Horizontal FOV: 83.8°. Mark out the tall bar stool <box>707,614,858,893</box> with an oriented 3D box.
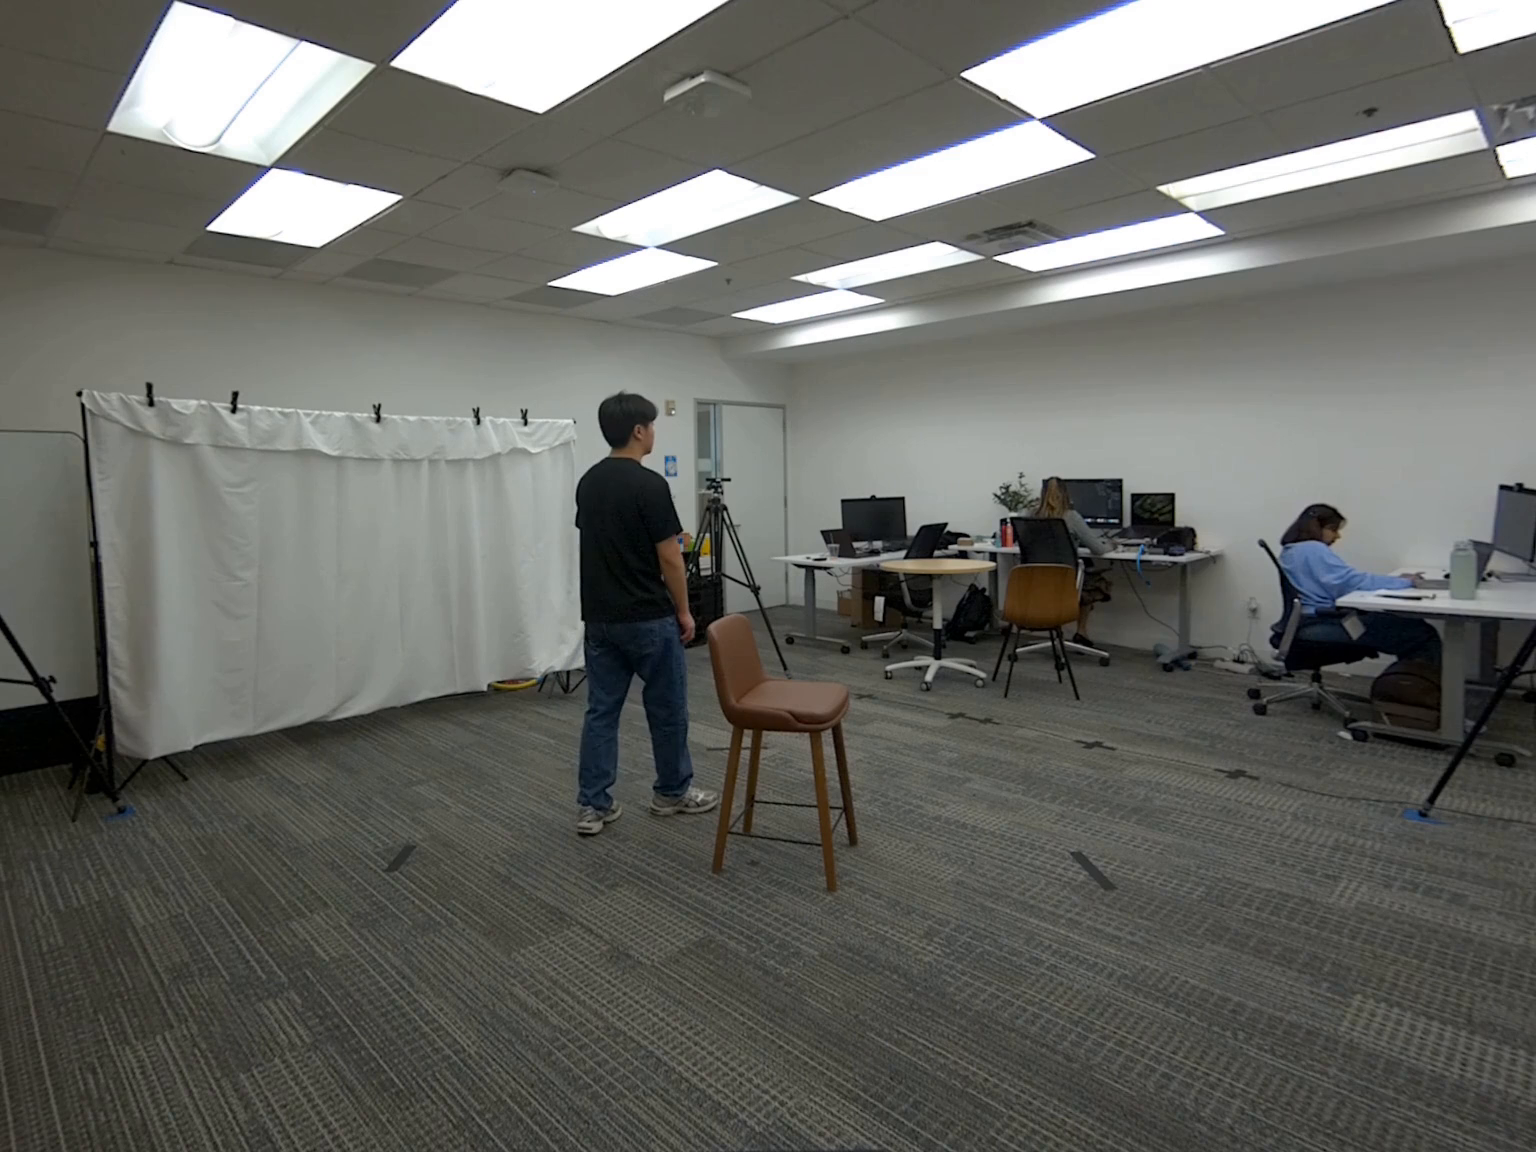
[{"bbox_3d":[0.059,0.605,3.116,0.476,0.887,0.449,-1,3,20],"label":"tall bar stool"}]
